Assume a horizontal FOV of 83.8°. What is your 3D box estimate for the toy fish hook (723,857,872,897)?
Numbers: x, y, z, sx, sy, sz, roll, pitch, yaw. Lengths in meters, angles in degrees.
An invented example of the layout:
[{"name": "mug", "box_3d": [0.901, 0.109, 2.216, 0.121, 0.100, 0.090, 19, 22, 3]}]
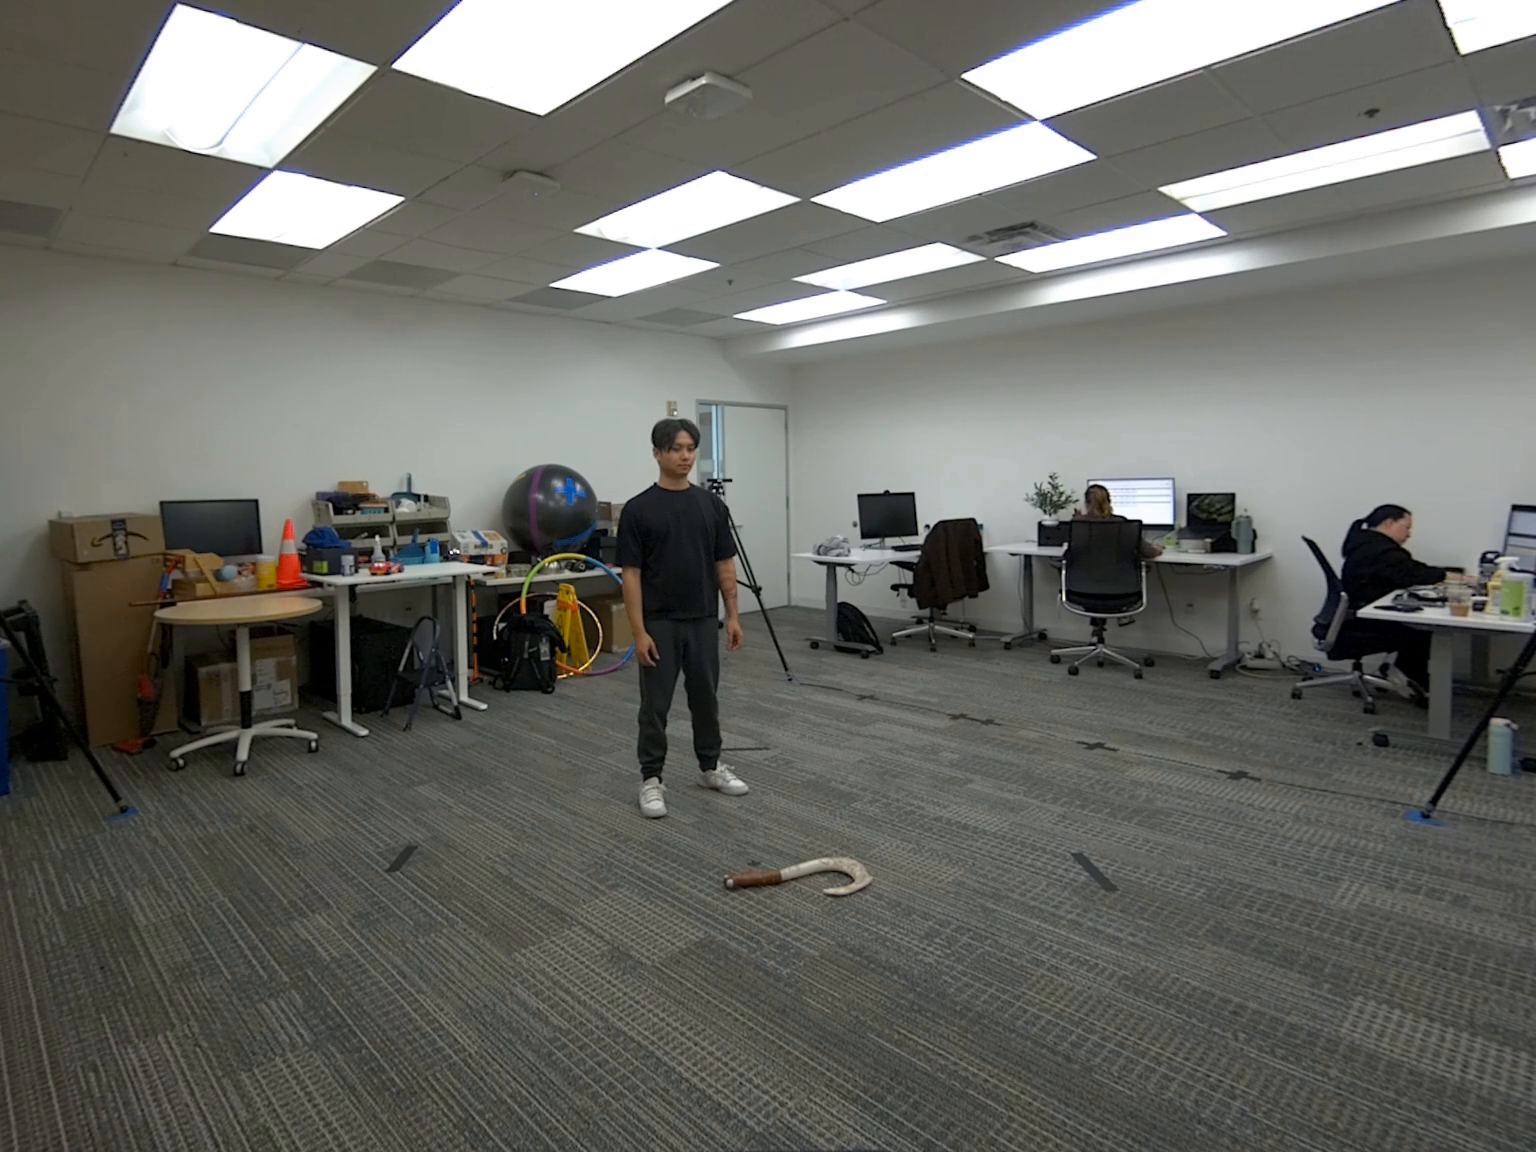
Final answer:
[{"name": "toy fish hook", "box_3d": [0.108, 1.040, 2.922, 0.500, 0.048, 0.228, -3, 6, -15]}]
